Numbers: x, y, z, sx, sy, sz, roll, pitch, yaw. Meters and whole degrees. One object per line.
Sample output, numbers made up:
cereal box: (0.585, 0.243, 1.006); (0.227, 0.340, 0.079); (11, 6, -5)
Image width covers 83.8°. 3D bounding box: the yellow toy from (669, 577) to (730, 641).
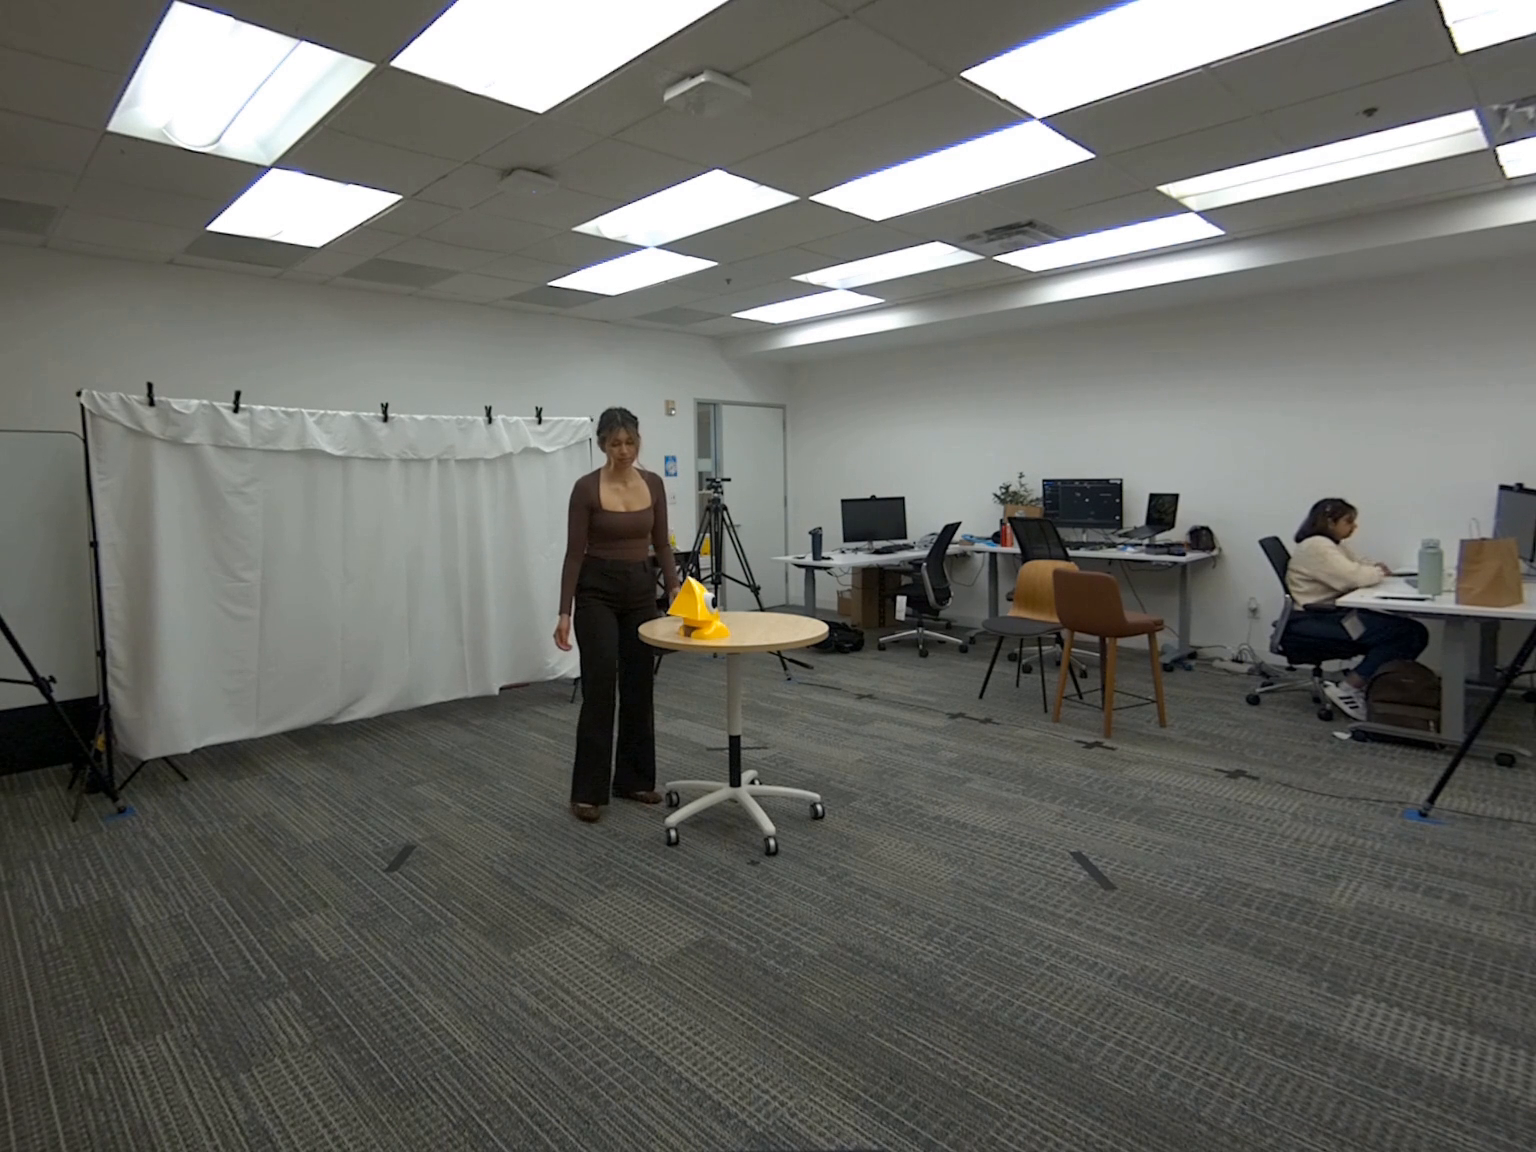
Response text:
yellow toy: (-0.258, 0.112, 3.285); (0.188, 0.230, 0.211); (-4, 6, -40)
